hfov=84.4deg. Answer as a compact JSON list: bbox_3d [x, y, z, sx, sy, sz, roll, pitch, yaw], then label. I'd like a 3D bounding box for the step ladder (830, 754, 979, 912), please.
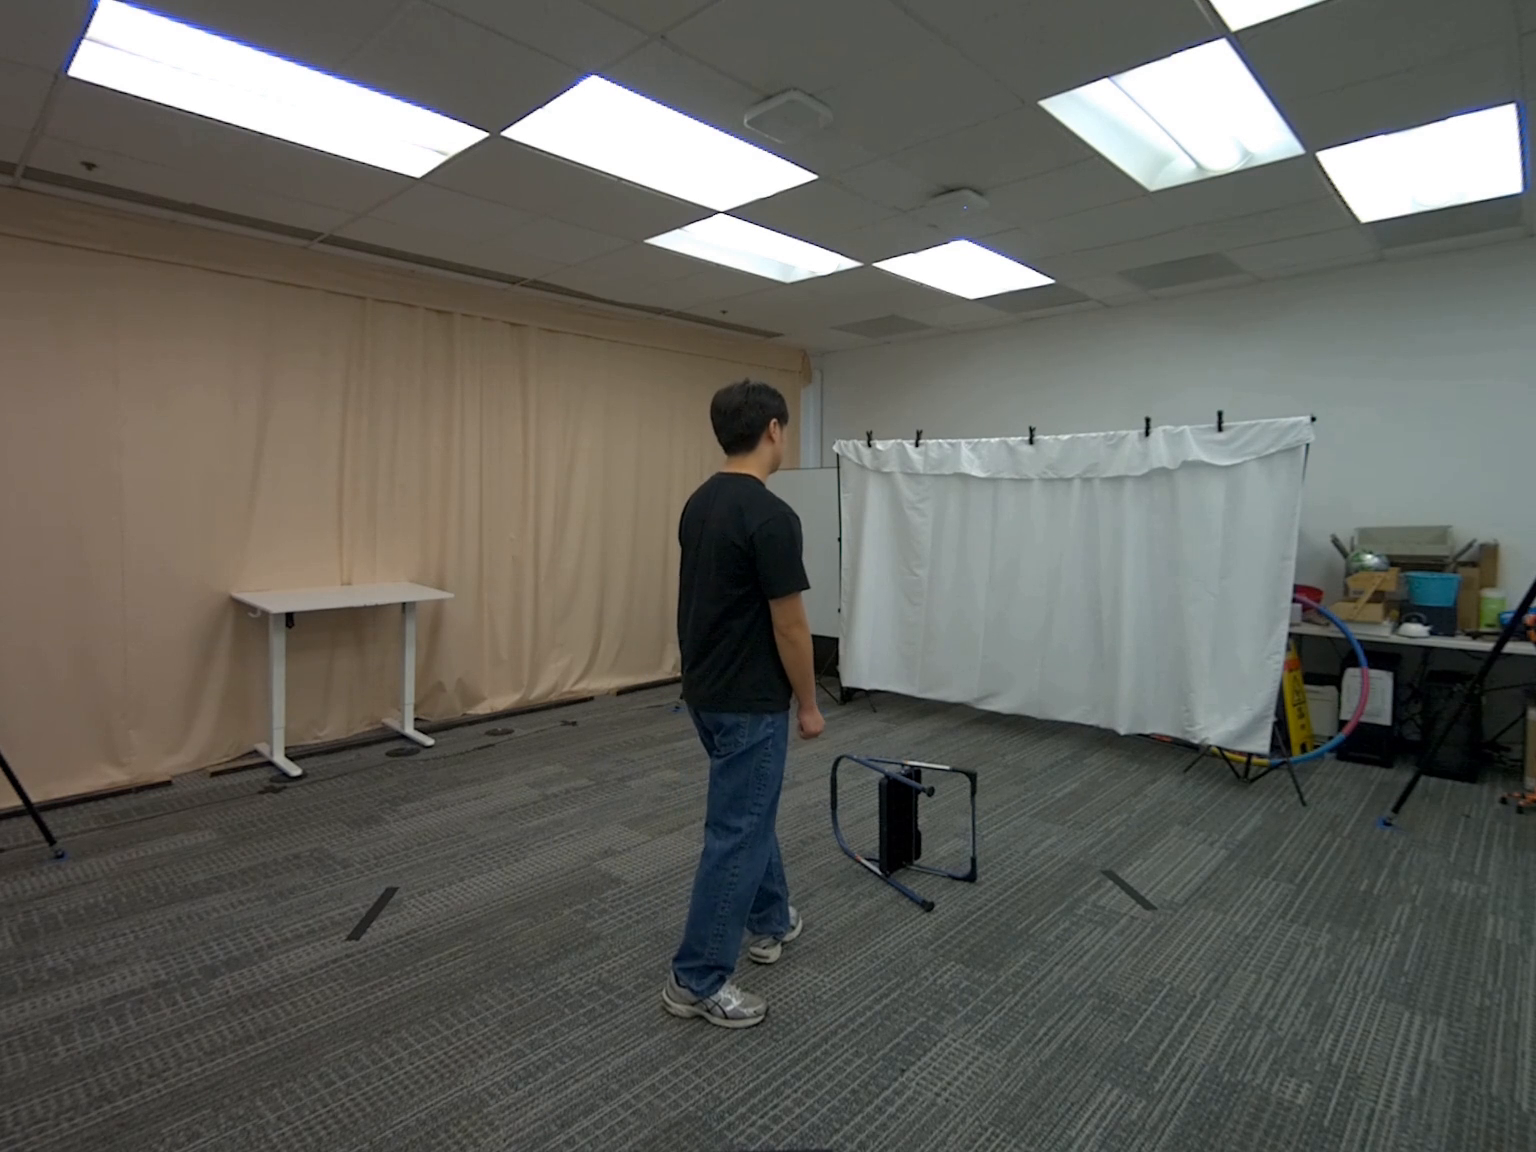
[{"bbox_3d":[0.446,0.915,3.197,0.626,0.430,0.338,3,3,44],"label":"step ladder"}]
